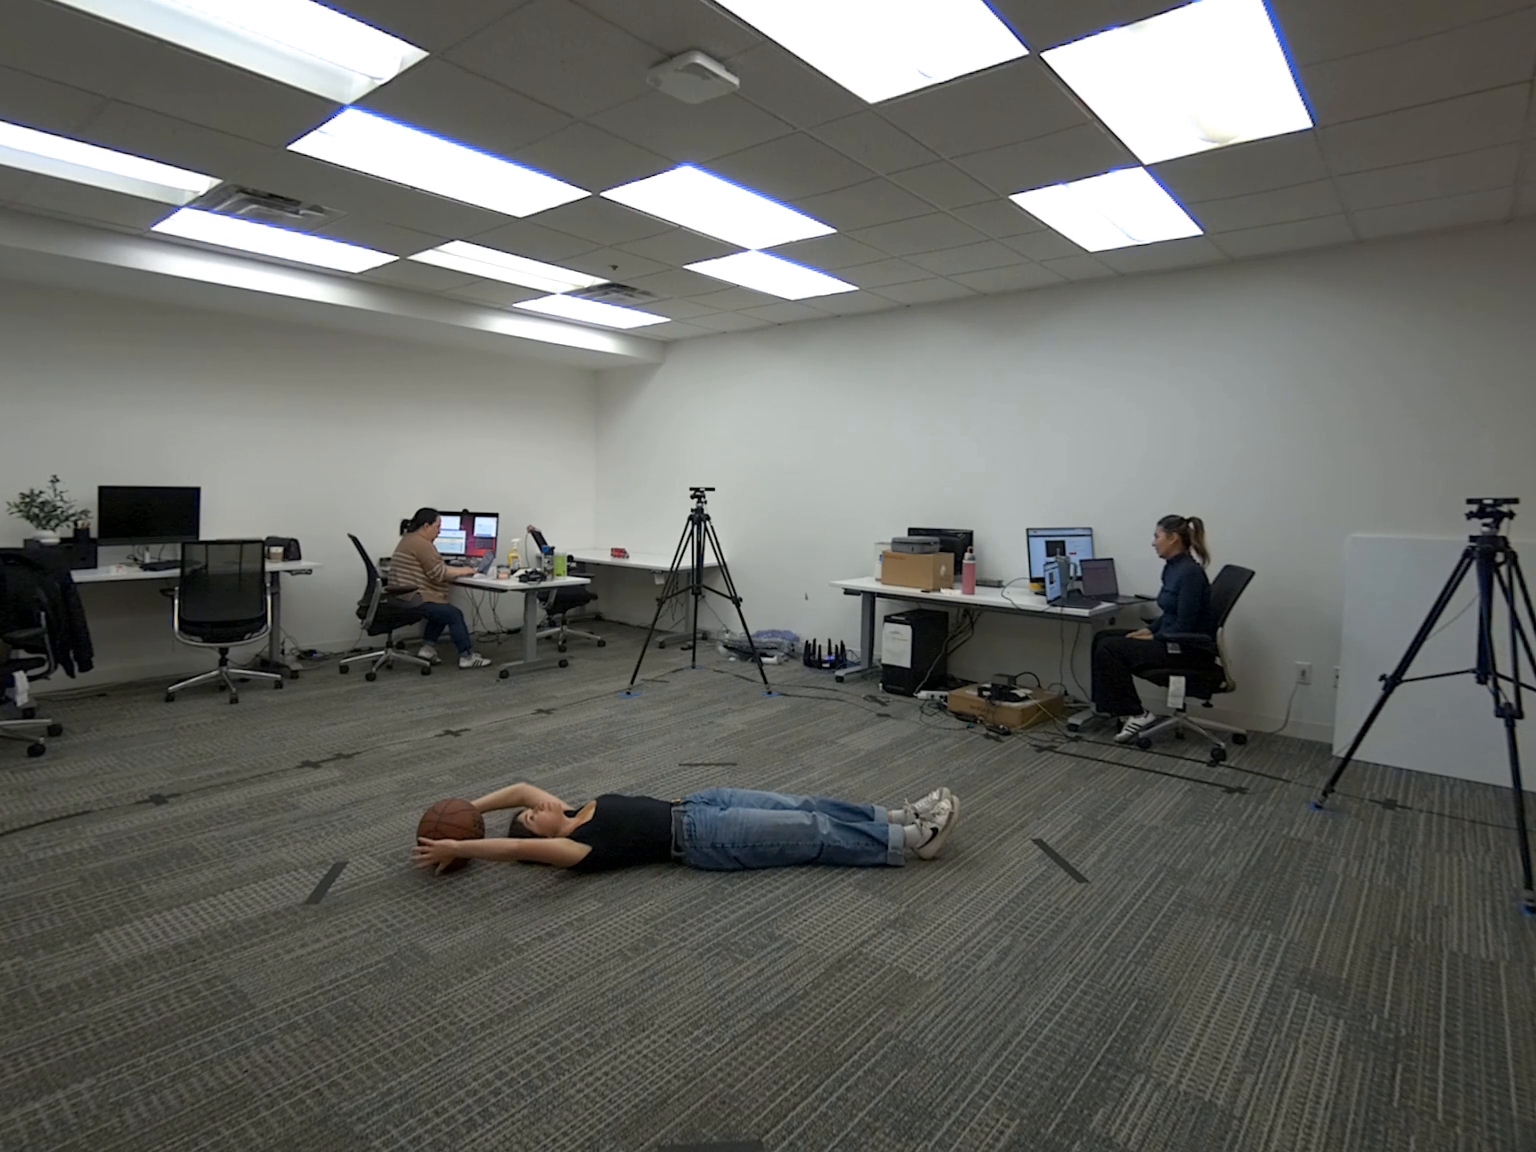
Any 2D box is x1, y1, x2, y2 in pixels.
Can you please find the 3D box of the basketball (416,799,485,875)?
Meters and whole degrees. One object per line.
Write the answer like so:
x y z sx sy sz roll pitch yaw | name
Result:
-1.167 0.931 3.095 0.235 0.235 0.237 1 4 -2 | basketball
